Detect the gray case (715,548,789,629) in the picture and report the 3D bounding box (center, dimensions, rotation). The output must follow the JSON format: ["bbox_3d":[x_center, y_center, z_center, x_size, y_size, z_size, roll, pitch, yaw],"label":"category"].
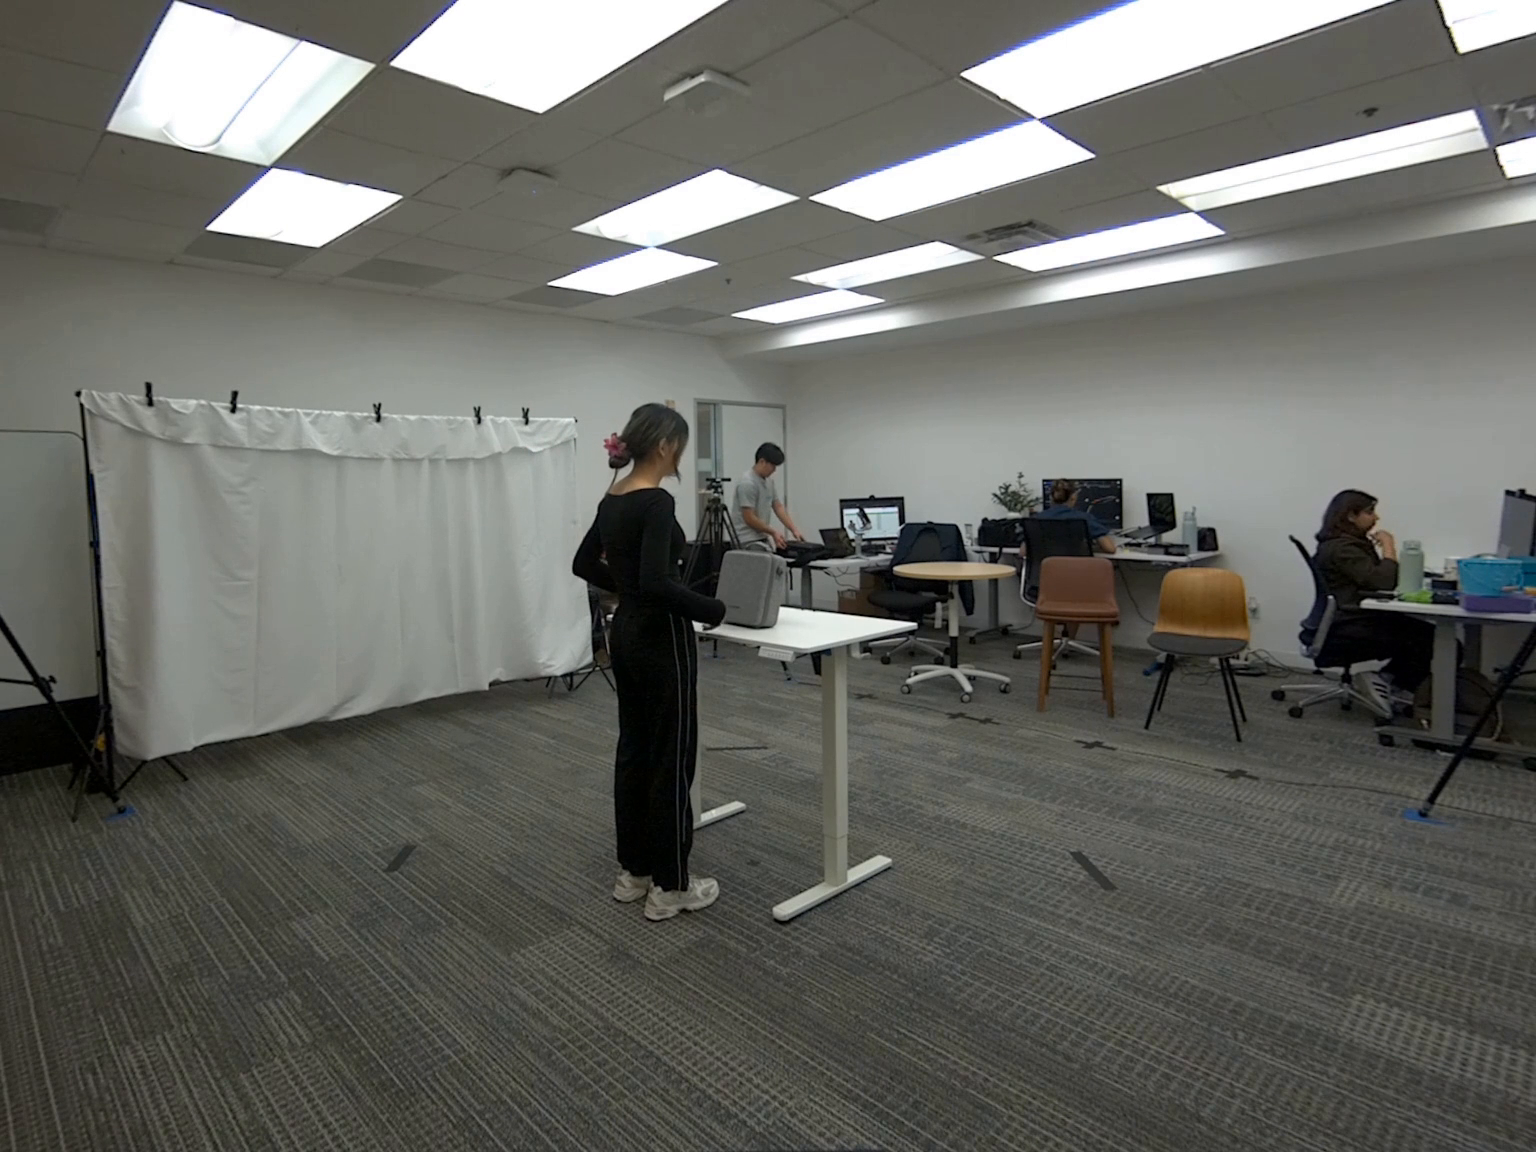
[{"bbox_3d":[-0.065,0.040,2.995,0.101,0.261,0.264,12,-5,-37],"label":"gray case"}]
